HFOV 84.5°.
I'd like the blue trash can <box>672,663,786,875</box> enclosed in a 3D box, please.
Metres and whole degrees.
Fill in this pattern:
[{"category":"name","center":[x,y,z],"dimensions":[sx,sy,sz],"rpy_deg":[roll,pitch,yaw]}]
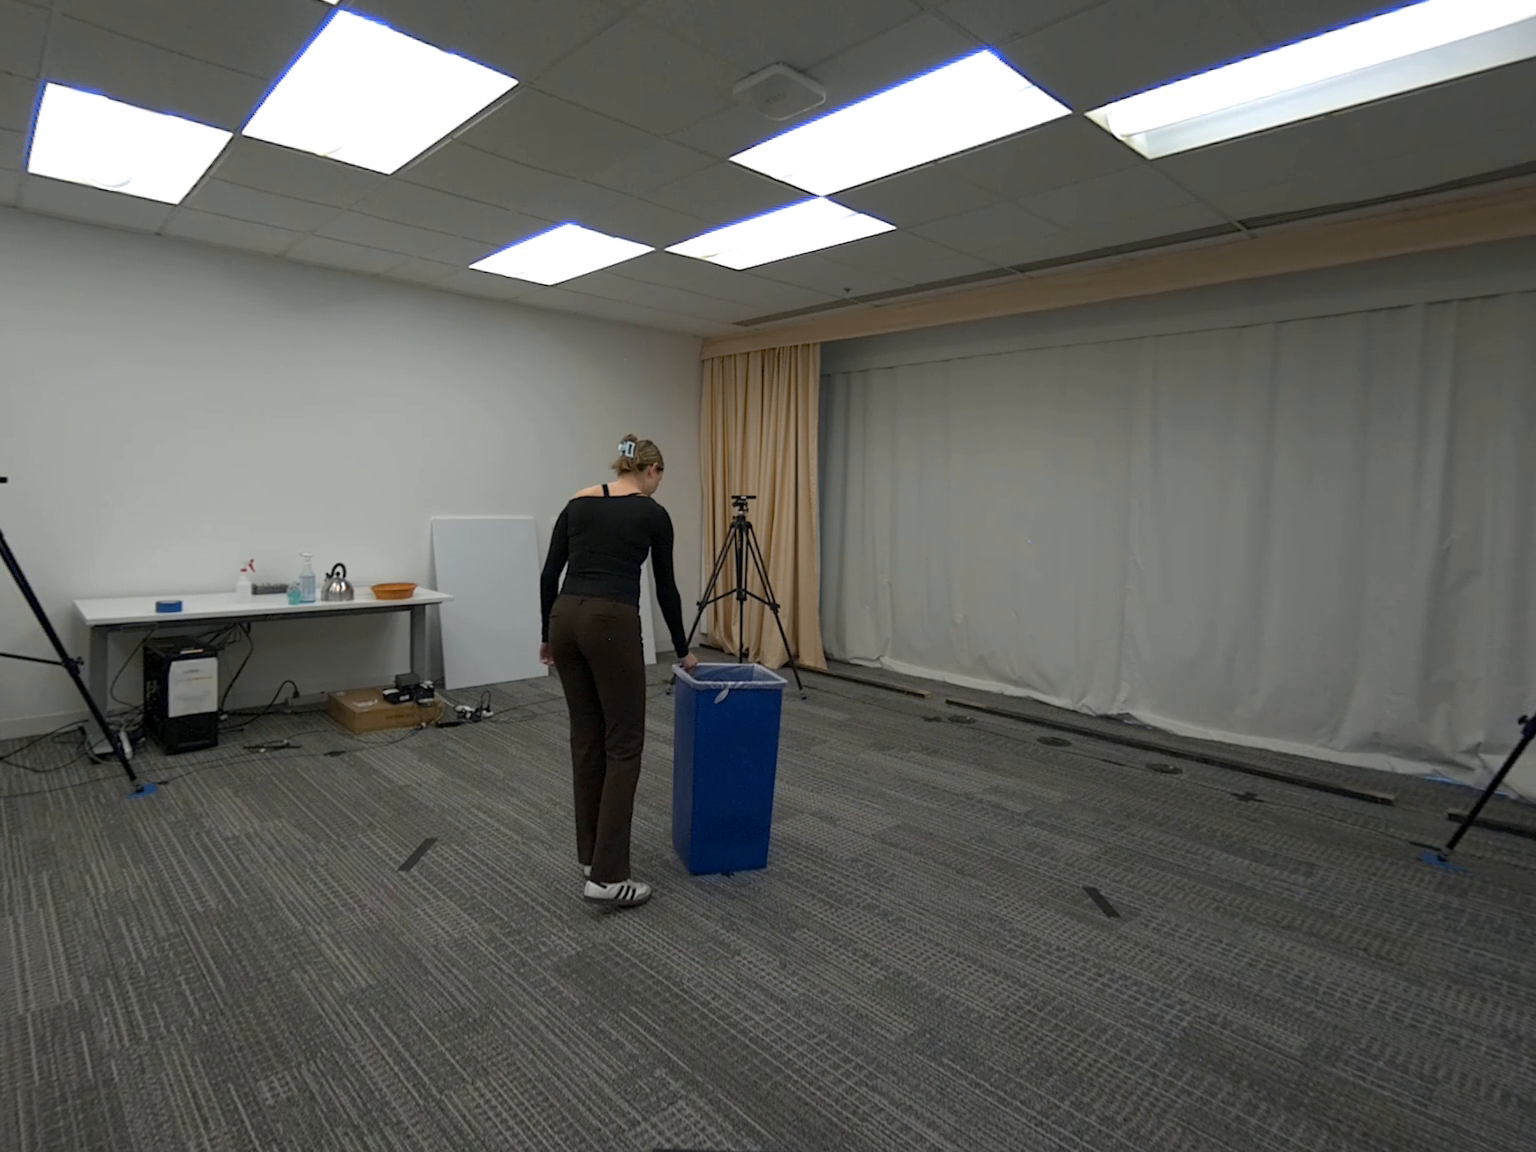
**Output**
[{"category":"blue trash can","center":[-0.187,0.722,3.246],"dimensions":[0.372,0.712,0.380],"rpy_deg":[2,3,-19]}]
